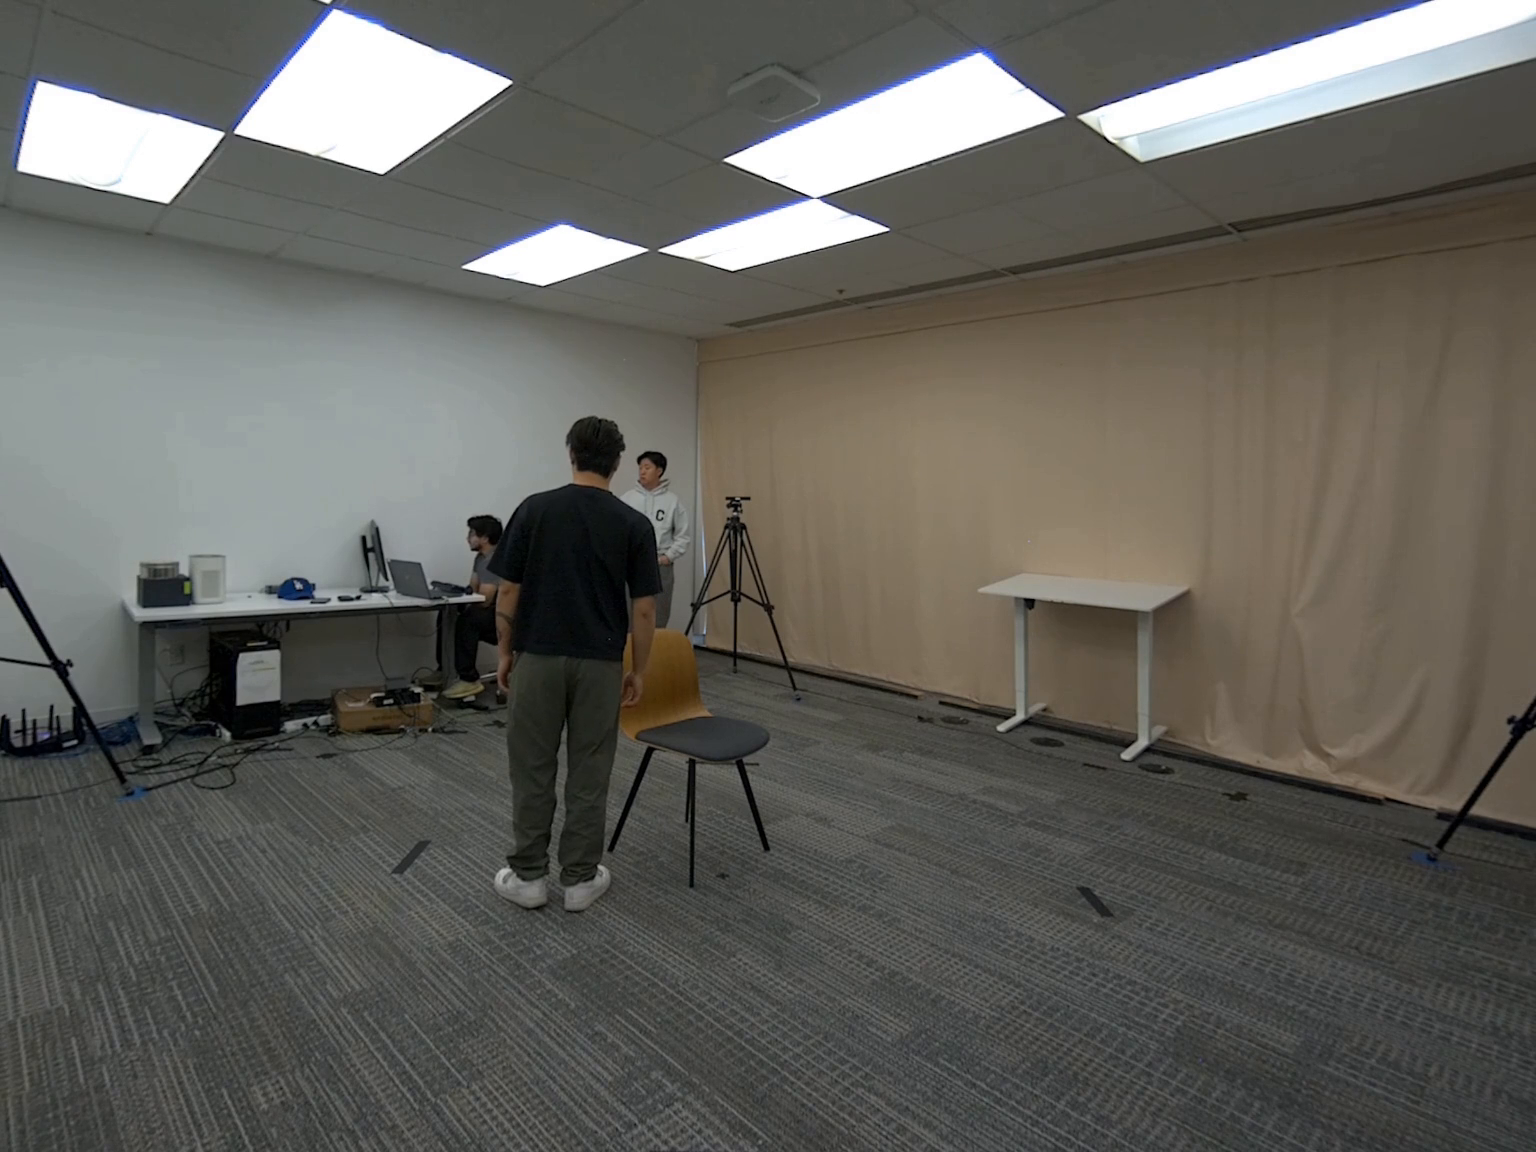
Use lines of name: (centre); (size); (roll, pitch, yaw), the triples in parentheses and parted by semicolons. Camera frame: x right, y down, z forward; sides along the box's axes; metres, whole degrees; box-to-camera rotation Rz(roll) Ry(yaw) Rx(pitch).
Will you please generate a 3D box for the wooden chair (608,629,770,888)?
wooden chair: (-0.296, 0.659, 3.280); (0.535, 0.877, 0.467); (-1, 0, 39)
